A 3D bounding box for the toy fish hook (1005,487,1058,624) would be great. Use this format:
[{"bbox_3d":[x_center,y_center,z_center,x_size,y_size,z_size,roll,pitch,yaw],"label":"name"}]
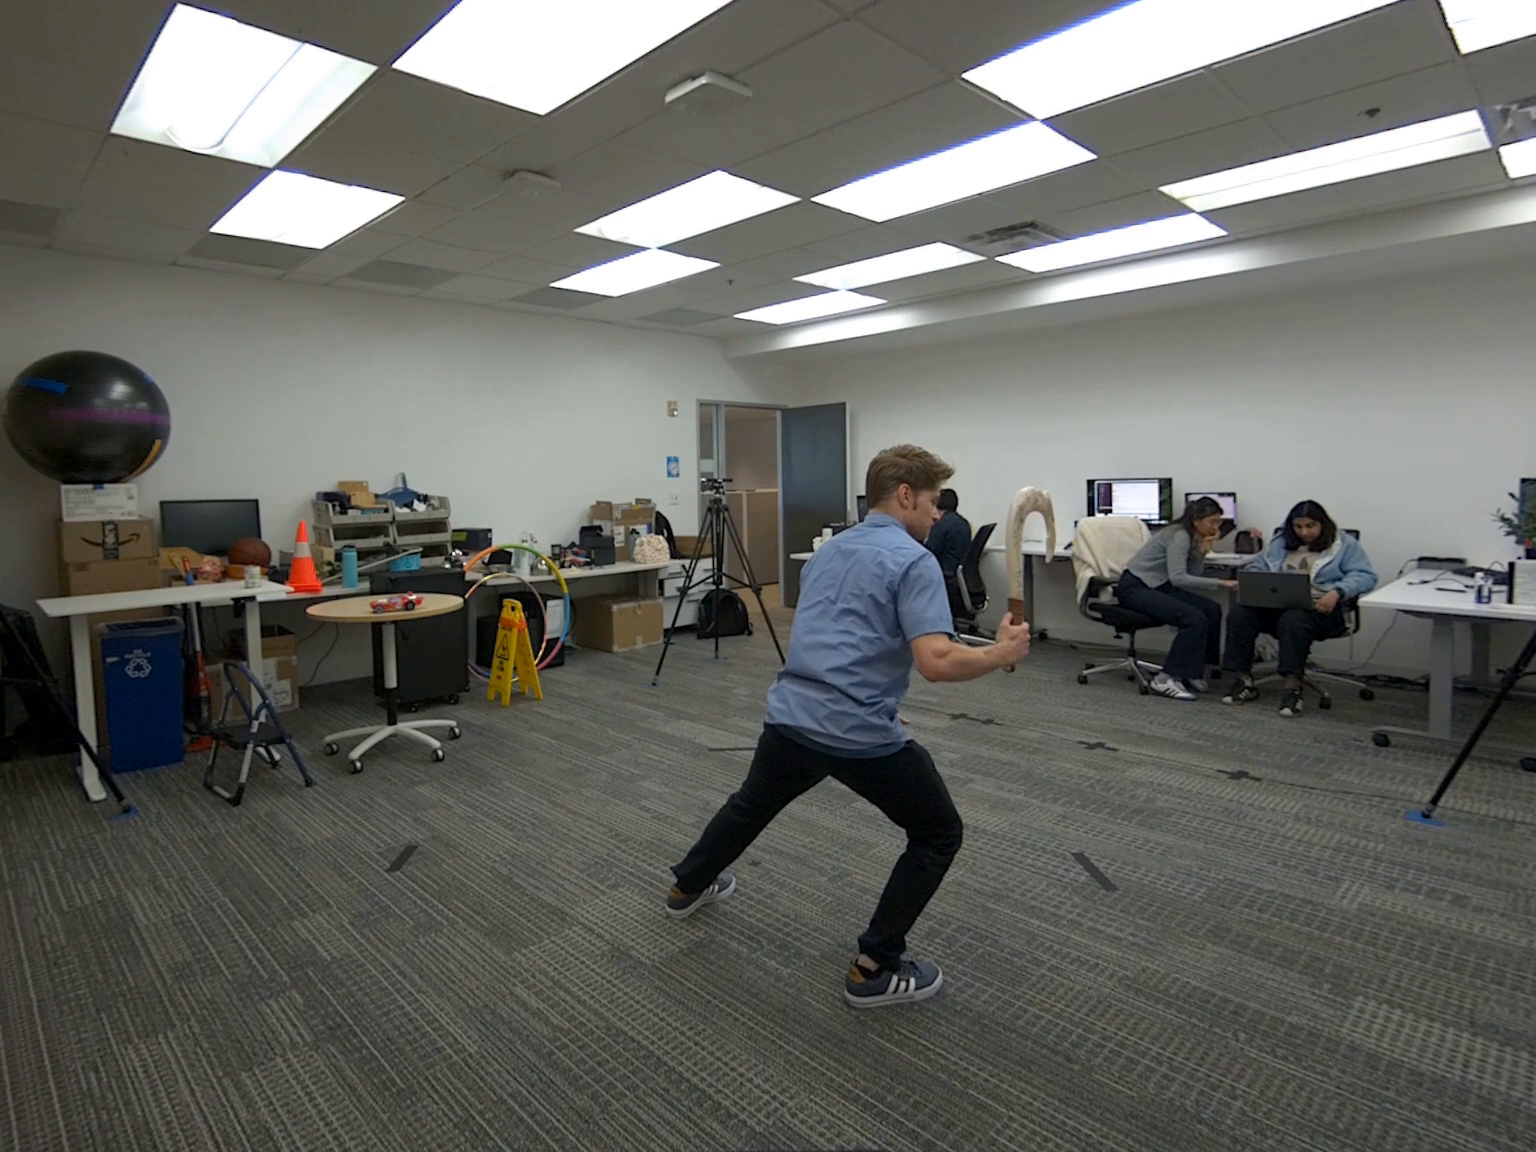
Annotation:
[{"bbox_3d":[0.705,0.009,2.335,0.218,0.508,0.049,10,-5,-35],"label":"toy fish hook"}]
